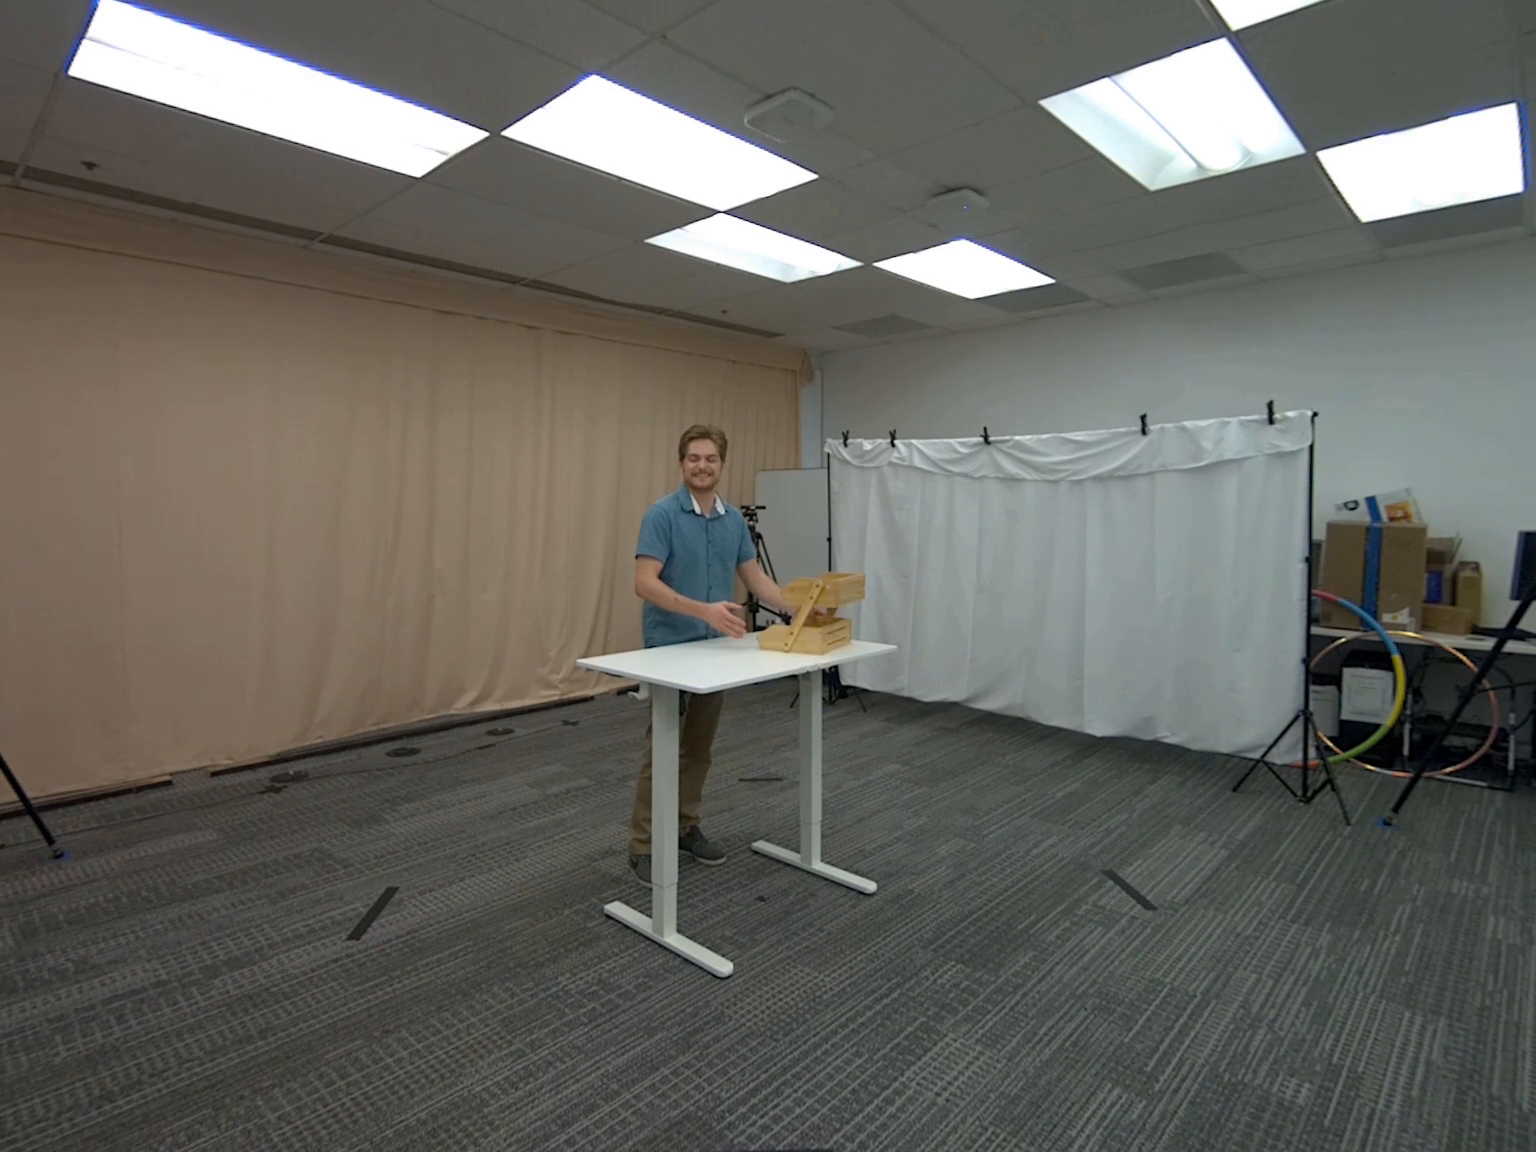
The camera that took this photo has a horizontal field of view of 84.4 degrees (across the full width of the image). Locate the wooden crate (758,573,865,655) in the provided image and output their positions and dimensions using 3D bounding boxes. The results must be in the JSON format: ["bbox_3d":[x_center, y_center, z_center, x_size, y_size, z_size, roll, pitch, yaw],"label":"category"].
[{"bbox_3d":[0.156,0.123,3.042,0.310,0.273,0.317,3,5,25],"label":"wooden crate"}]
